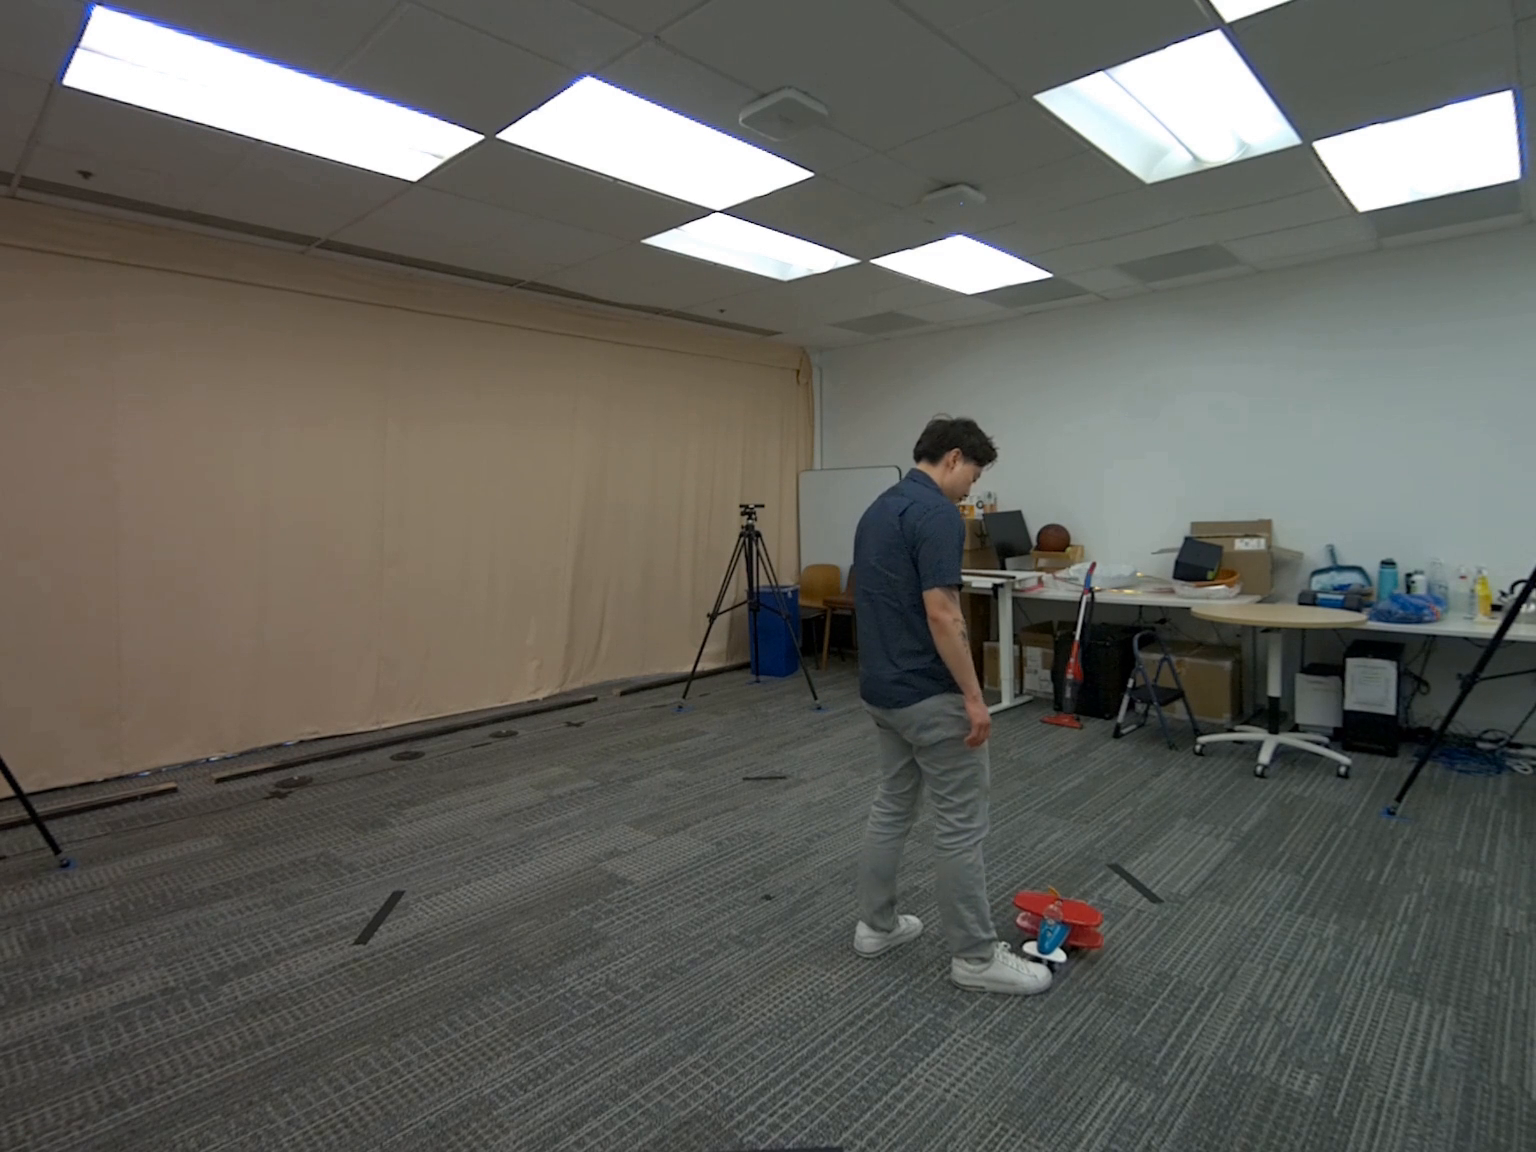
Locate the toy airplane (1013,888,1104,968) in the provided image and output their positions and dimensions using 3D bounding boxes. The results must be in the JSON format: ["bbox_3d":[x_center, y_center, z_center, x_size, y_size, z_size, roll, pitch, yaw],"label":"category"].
[{"bbox_3d":[0.900,1.087,2.554,0.253,0.156,0.257,1,4,7],"label":"toy airplane"}]
